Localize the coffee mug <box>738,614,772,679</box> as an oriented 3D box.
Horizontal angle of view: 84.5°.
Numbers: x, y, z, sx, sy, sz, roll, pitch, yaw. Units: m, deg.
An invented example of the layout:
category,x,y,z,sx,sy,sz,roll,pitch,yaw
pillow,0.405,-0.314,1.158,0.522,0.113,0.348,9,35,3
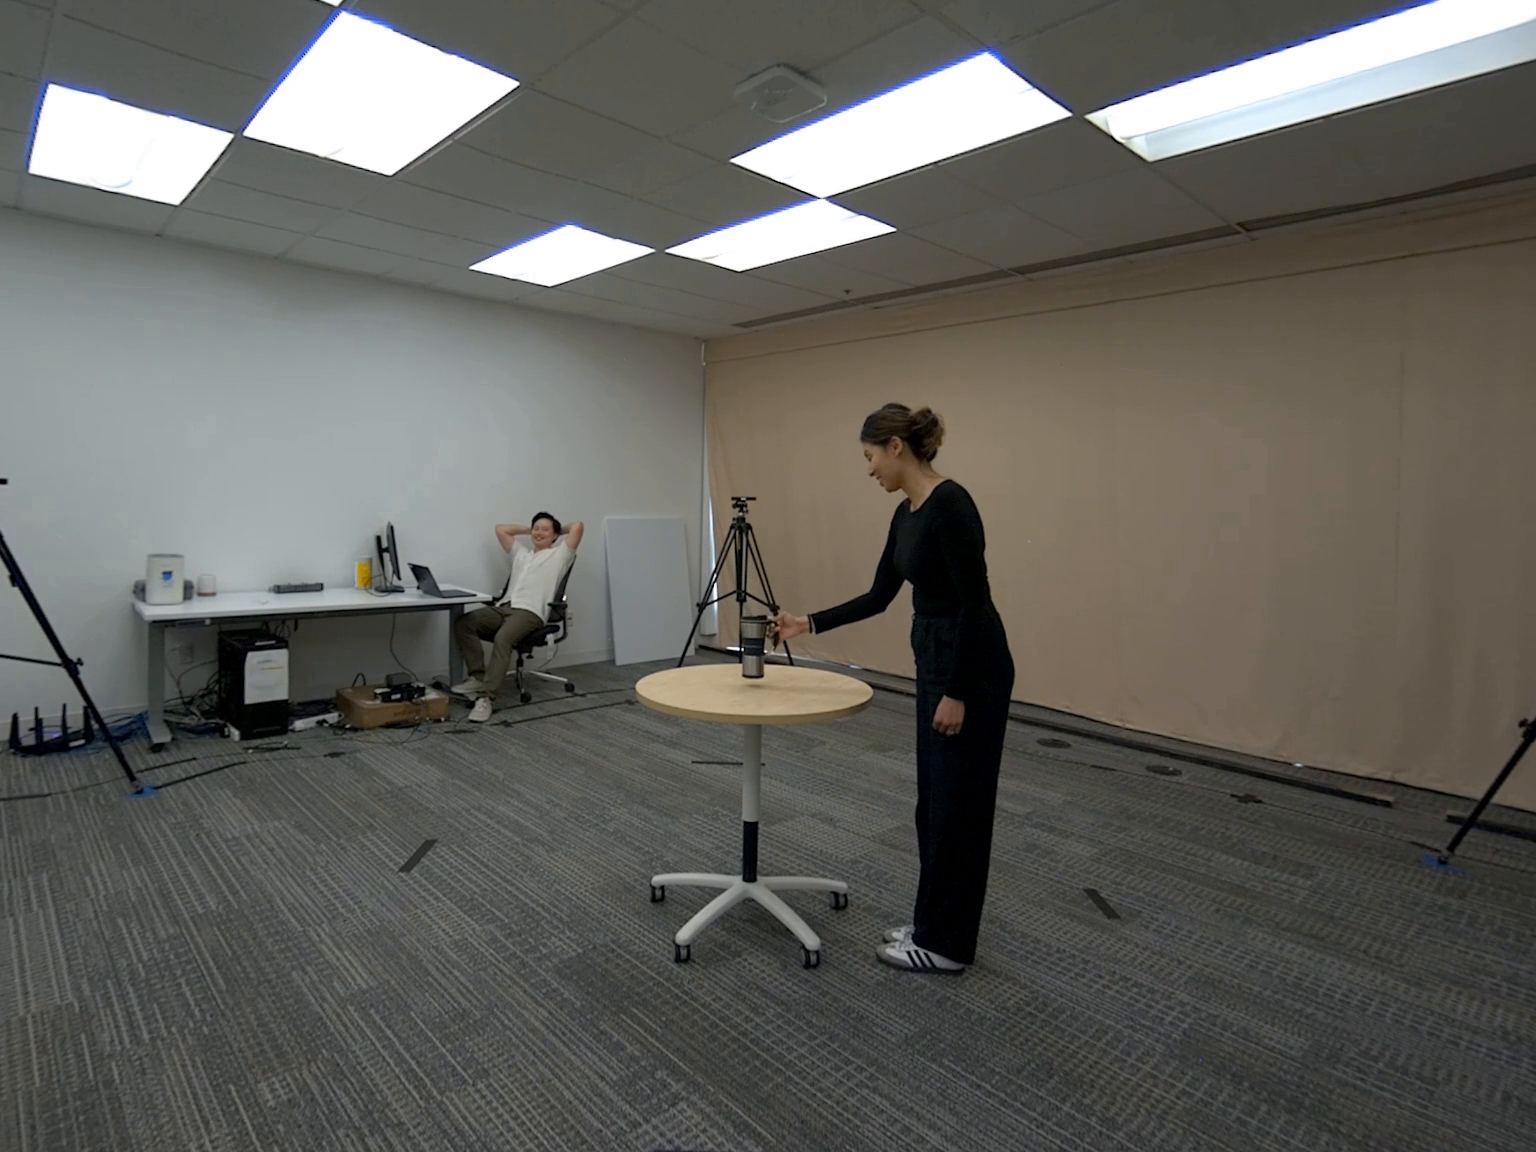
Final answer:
category,x,y,z,sx,sy,sz,roll,pitch,yaw
coffee mug,-0.039,0.231,2.727,0.085,0.204,0.125,7,-7,-44
